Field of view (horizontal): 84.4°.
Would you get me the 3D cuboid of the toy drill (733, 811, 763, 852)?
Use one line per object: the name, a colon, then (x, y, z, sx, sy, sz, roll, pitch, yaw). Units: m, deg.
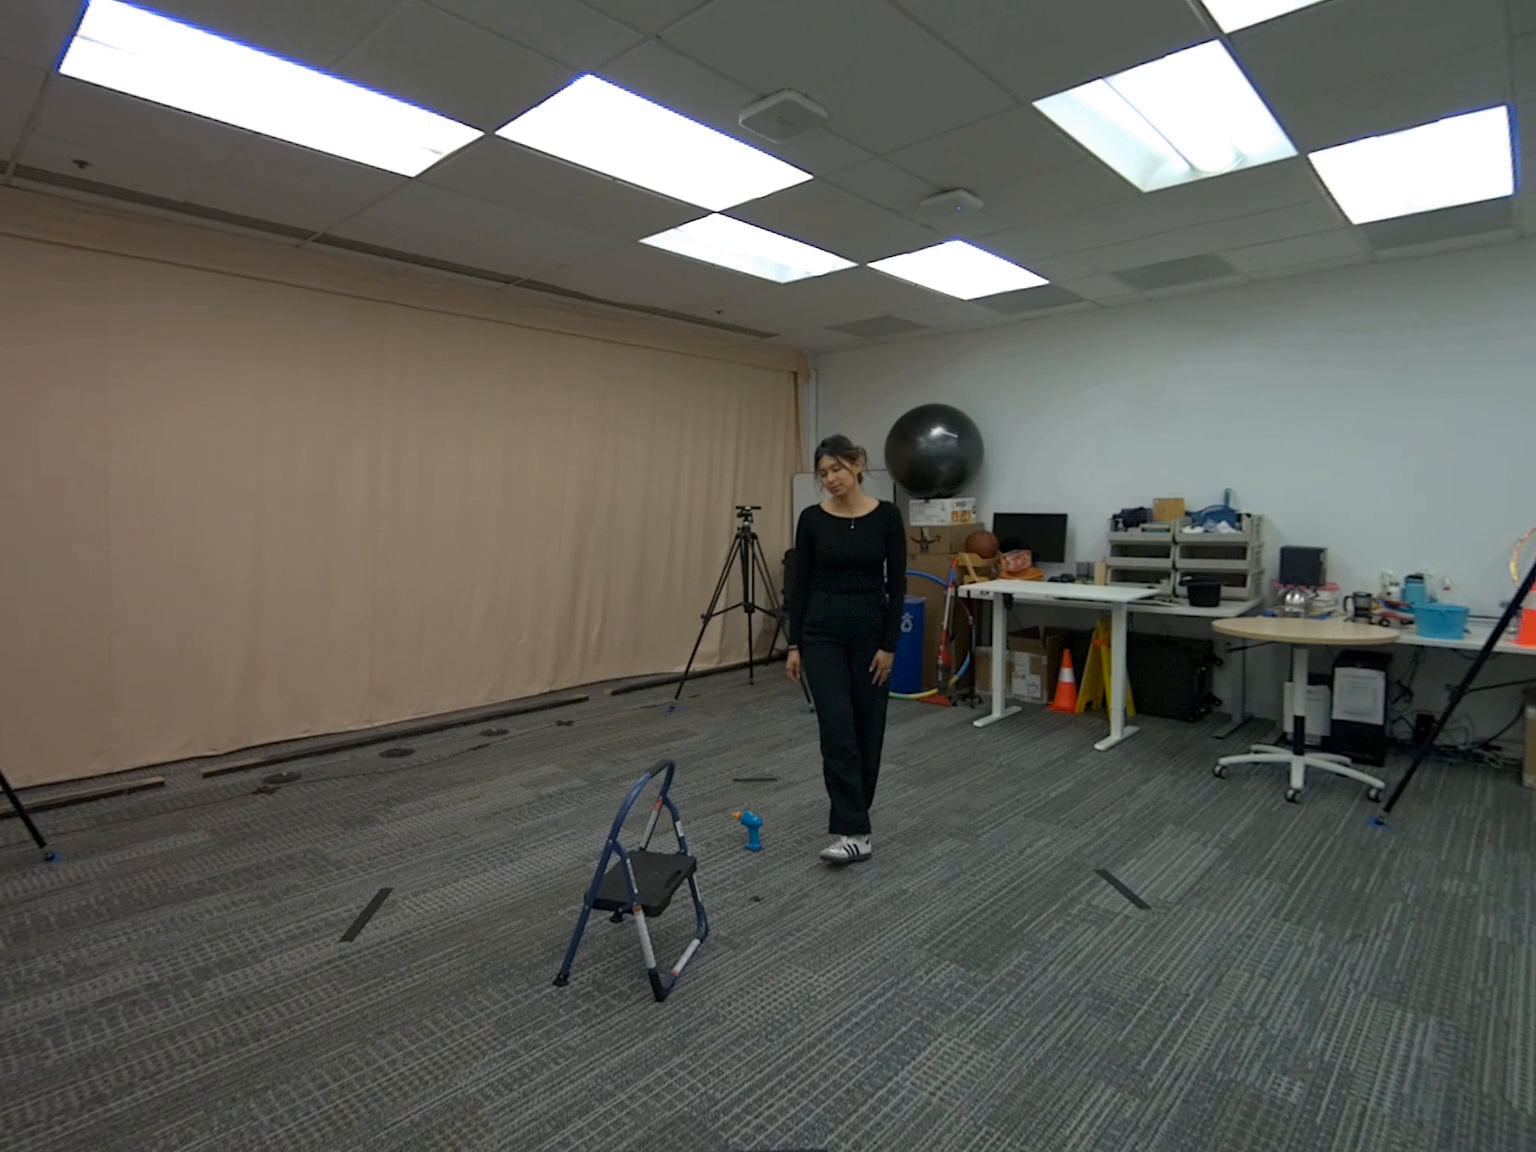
toy drill: (-0.084, 1.036, 3.447, 0.175, 0.146, 0.059, 1, 4, 43)
